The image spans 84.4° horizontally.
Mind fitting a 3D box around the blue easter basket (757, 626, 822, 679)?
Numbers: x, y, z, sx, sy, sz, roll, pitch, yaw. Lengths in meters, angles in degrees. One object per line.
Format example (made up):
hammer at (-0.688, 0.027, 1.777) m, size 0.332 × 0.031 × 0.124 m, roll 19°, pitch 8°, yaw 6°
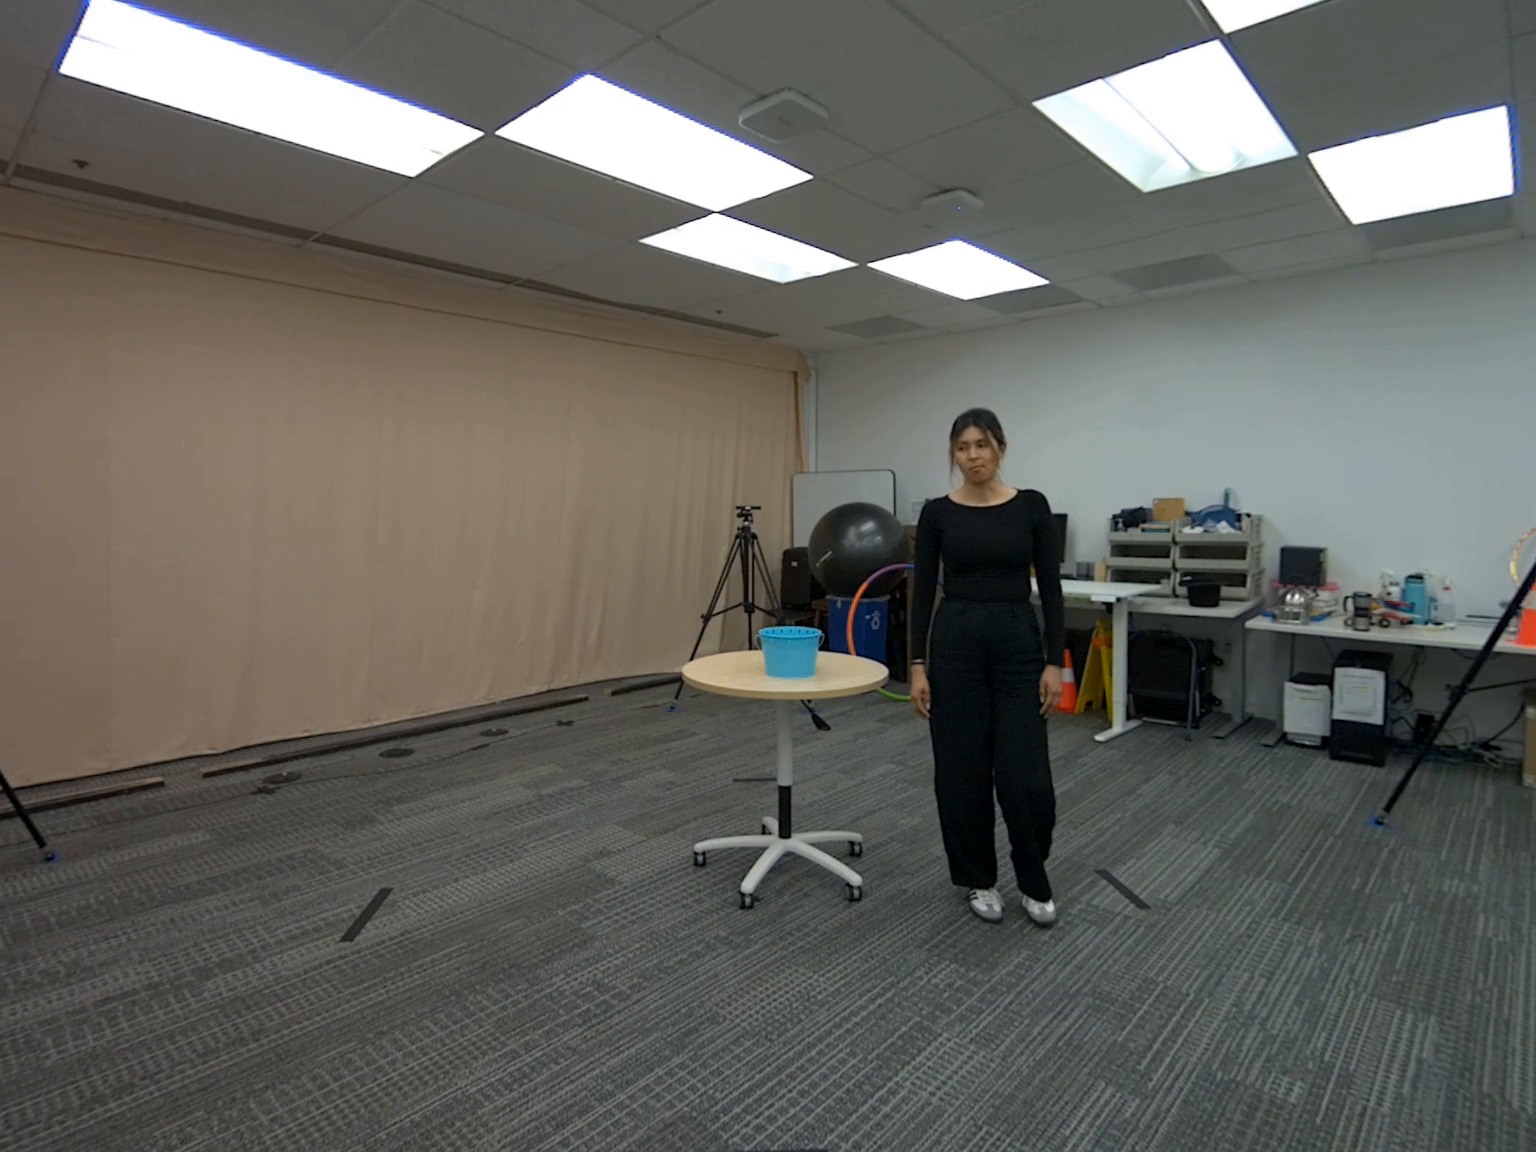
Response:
blue easter basket at (0.093, 0.279, 3.069) m, size 0.243 × 0.155 × 0.244 m, roll 0°, pitch 5°, yaw -2°
